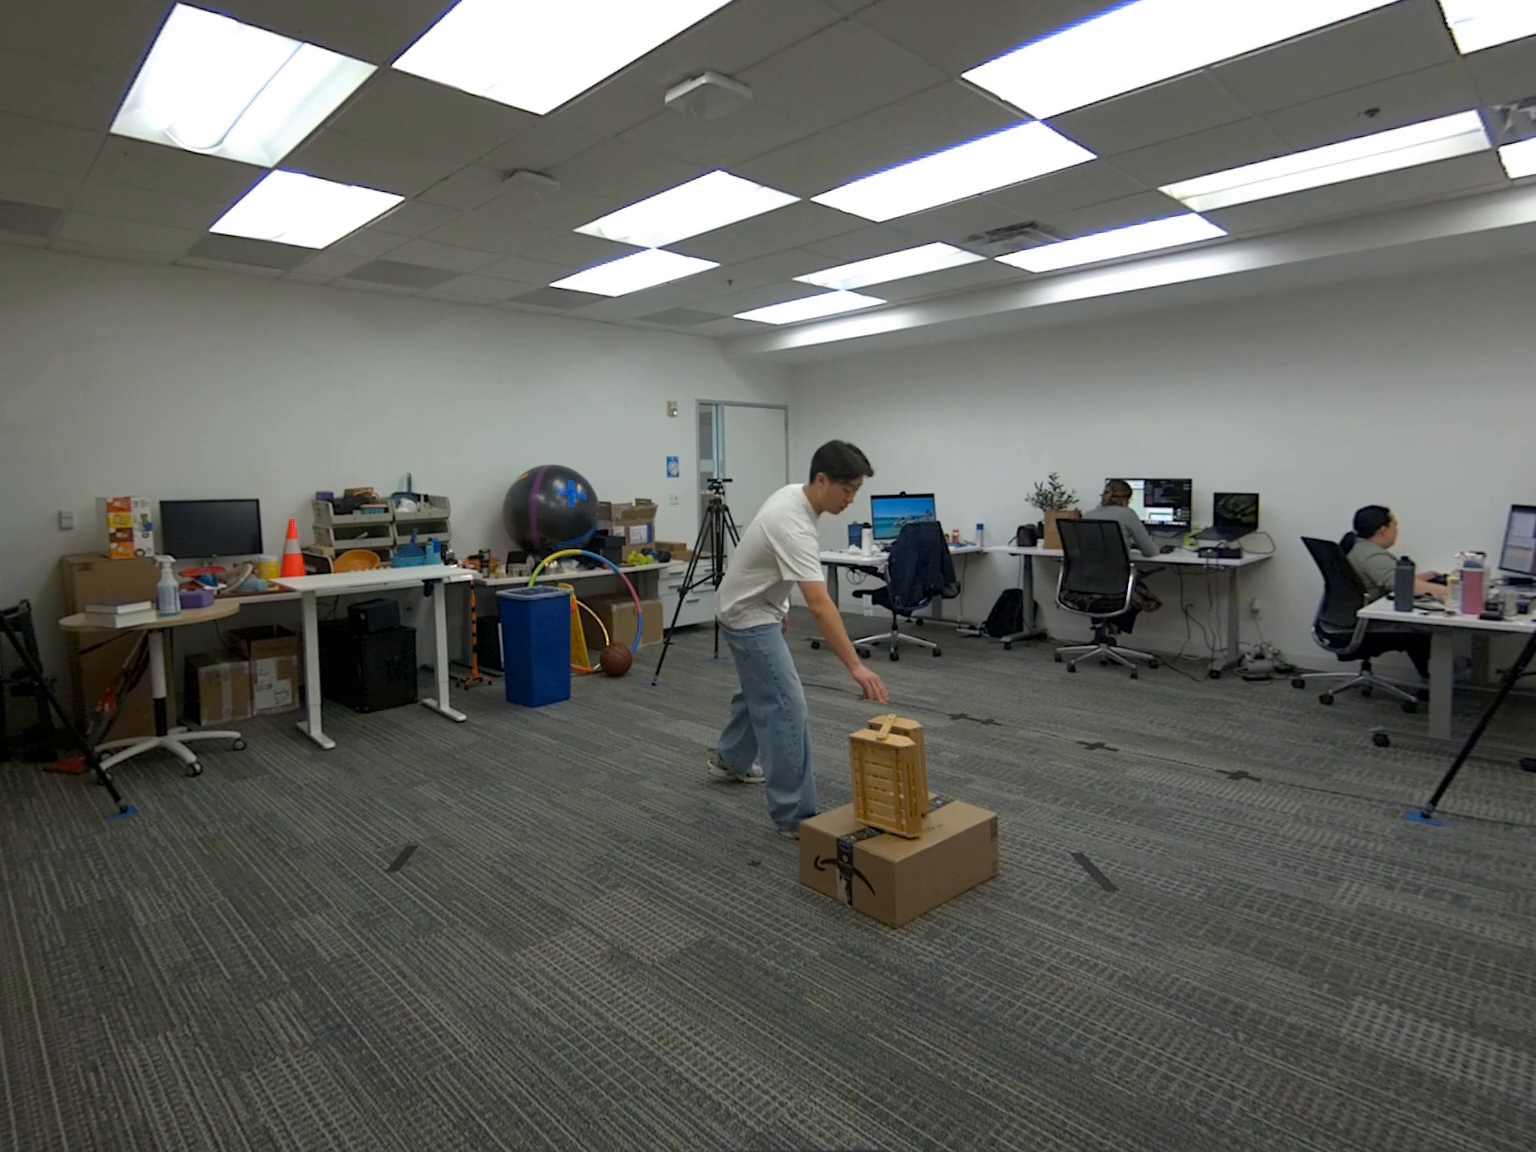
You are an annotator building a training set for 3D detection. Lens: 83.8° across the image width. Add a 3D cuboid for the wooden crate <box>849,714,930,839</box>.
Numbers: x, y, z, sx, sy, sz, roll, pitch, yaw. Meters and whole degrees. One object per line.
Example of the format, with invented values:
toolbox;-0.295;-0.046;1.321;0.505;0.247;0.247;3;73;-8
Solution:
wooden crate;0.455;0.679;2.955;0.267;0.323;0.310;-9;6;-43
